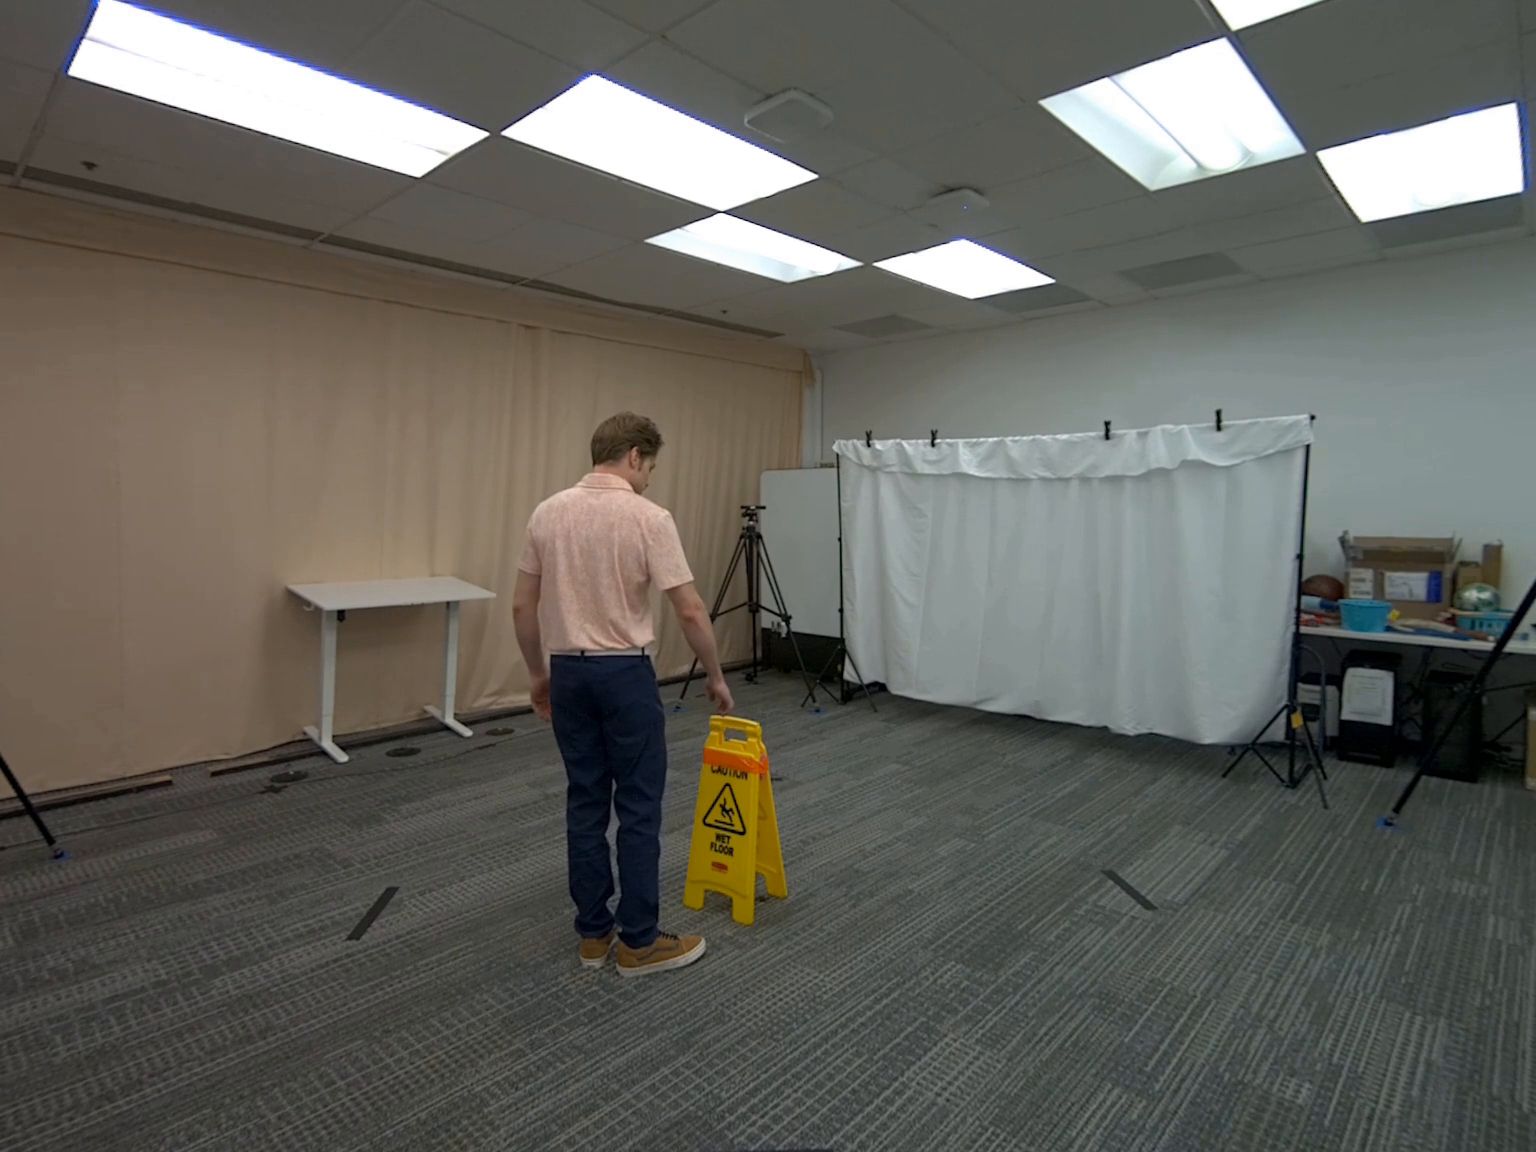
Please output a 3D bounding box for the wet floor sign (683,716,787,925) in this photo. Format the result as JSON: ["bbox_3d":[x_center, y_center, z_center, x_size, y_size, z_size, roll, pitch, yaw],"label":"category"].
[{"bbox_3d":[-0.110,0.822,2.953,0.291,0.645,0.282,2,3,32],"label":"wet floor sign"}]
